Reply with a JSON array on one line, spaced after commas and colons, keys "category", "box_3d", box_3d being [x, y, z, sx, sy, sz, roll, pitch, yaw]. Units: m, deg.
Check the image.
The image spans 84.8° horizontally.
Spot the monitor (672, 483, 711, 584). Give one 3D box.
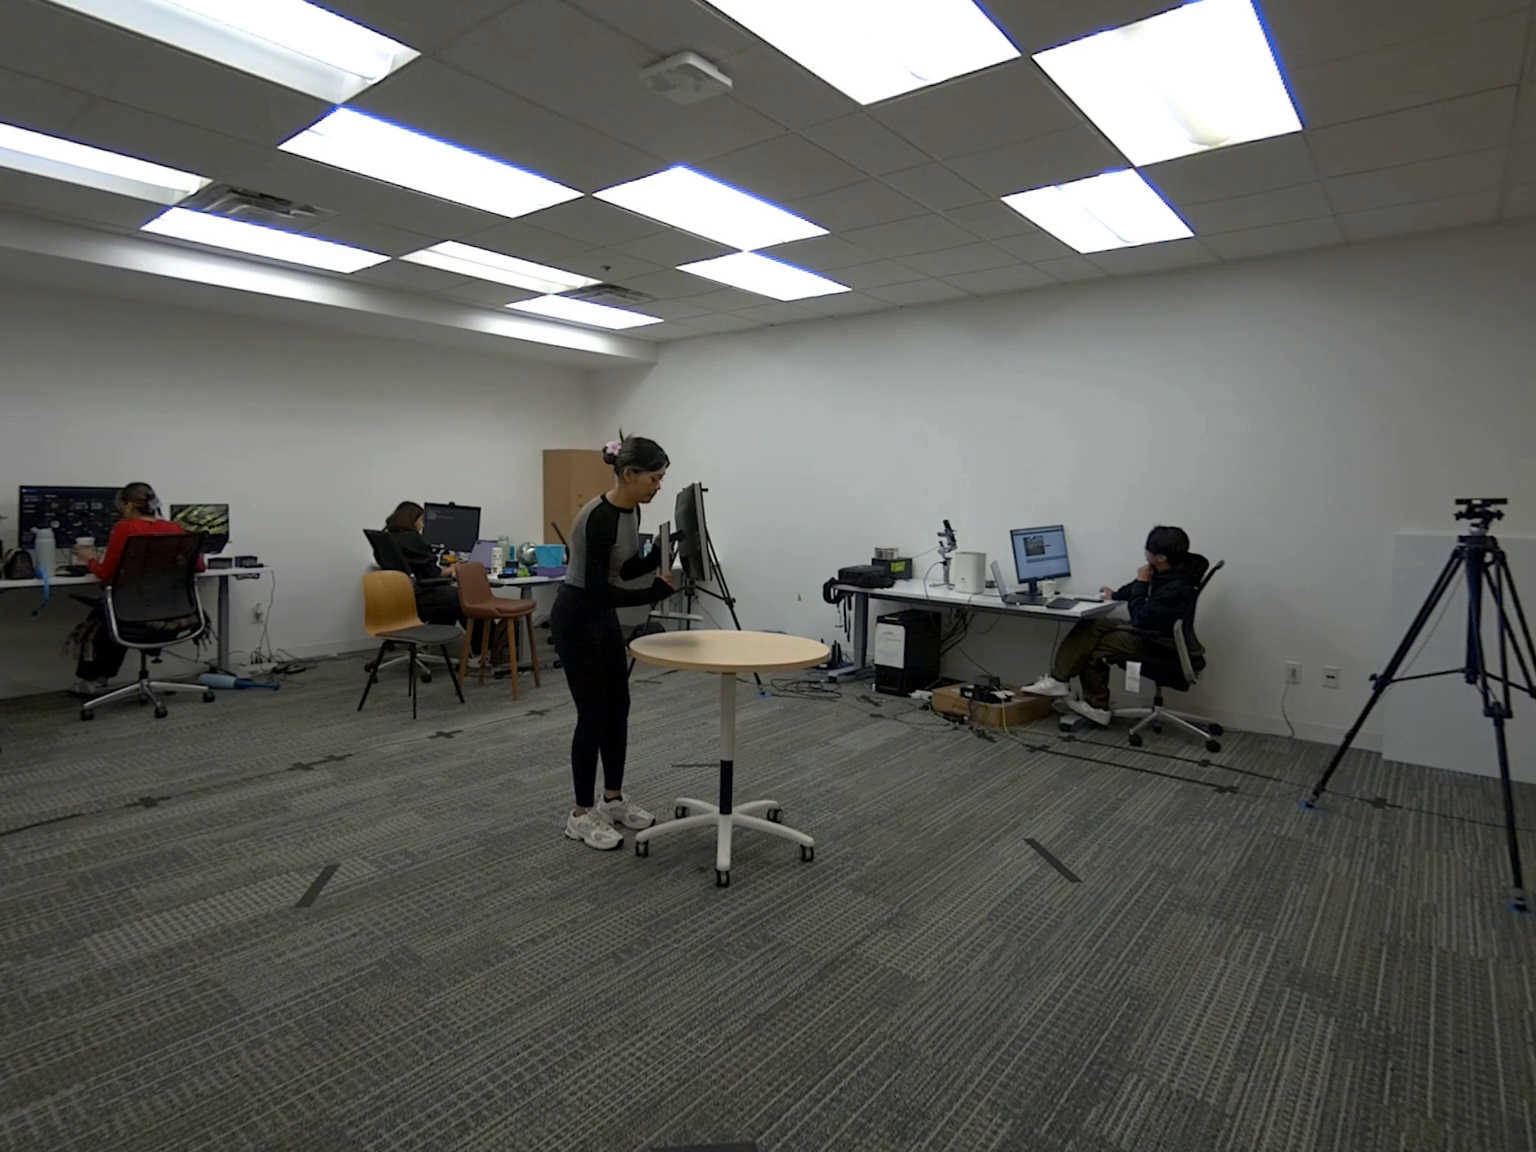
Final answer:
[{"category": "monitor", "box_3d": [-0.351, -0.085, 3.307, 0.184, 0.524, 0.546, 7, -3, -14]}]
